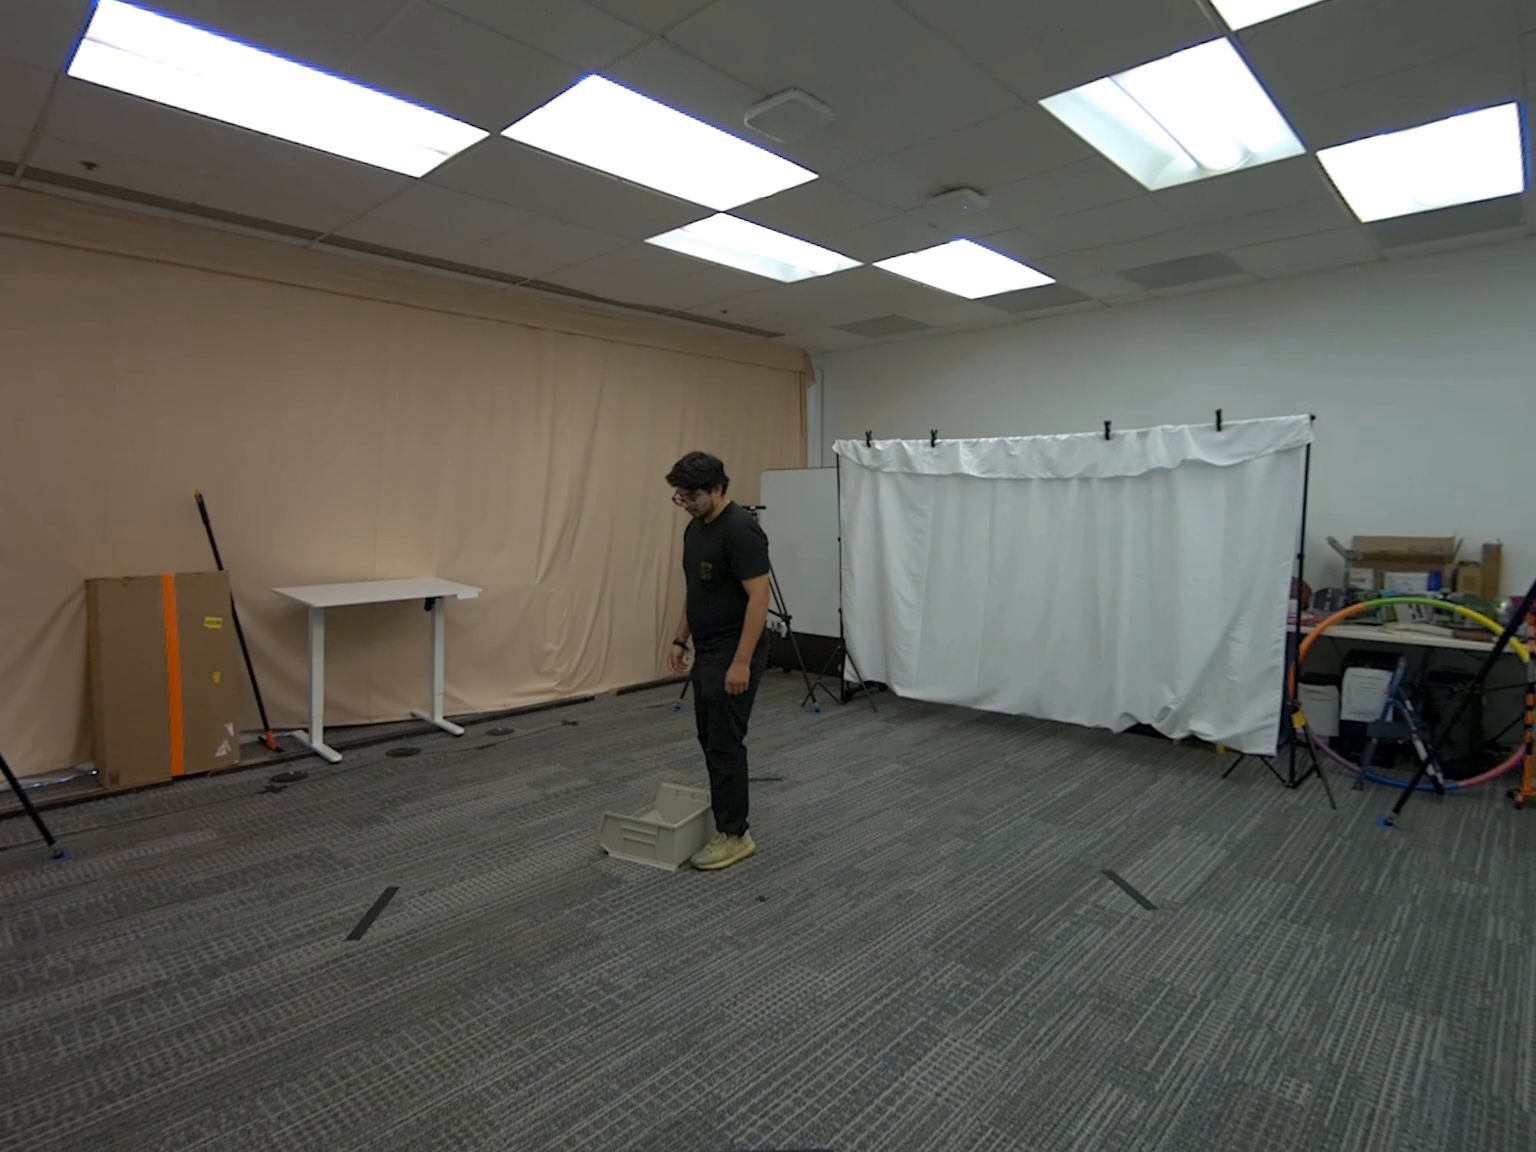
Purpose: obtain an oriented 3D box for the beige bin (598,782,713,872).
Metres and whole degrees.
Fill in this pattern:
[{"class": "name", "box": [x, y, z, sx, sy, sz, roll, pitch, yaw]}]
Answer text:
[{"class": "beige bin", "box": [-0.430, 1.021, 3.469, 0.388, 0.188, 0.412, 2, 6, 28]}]
